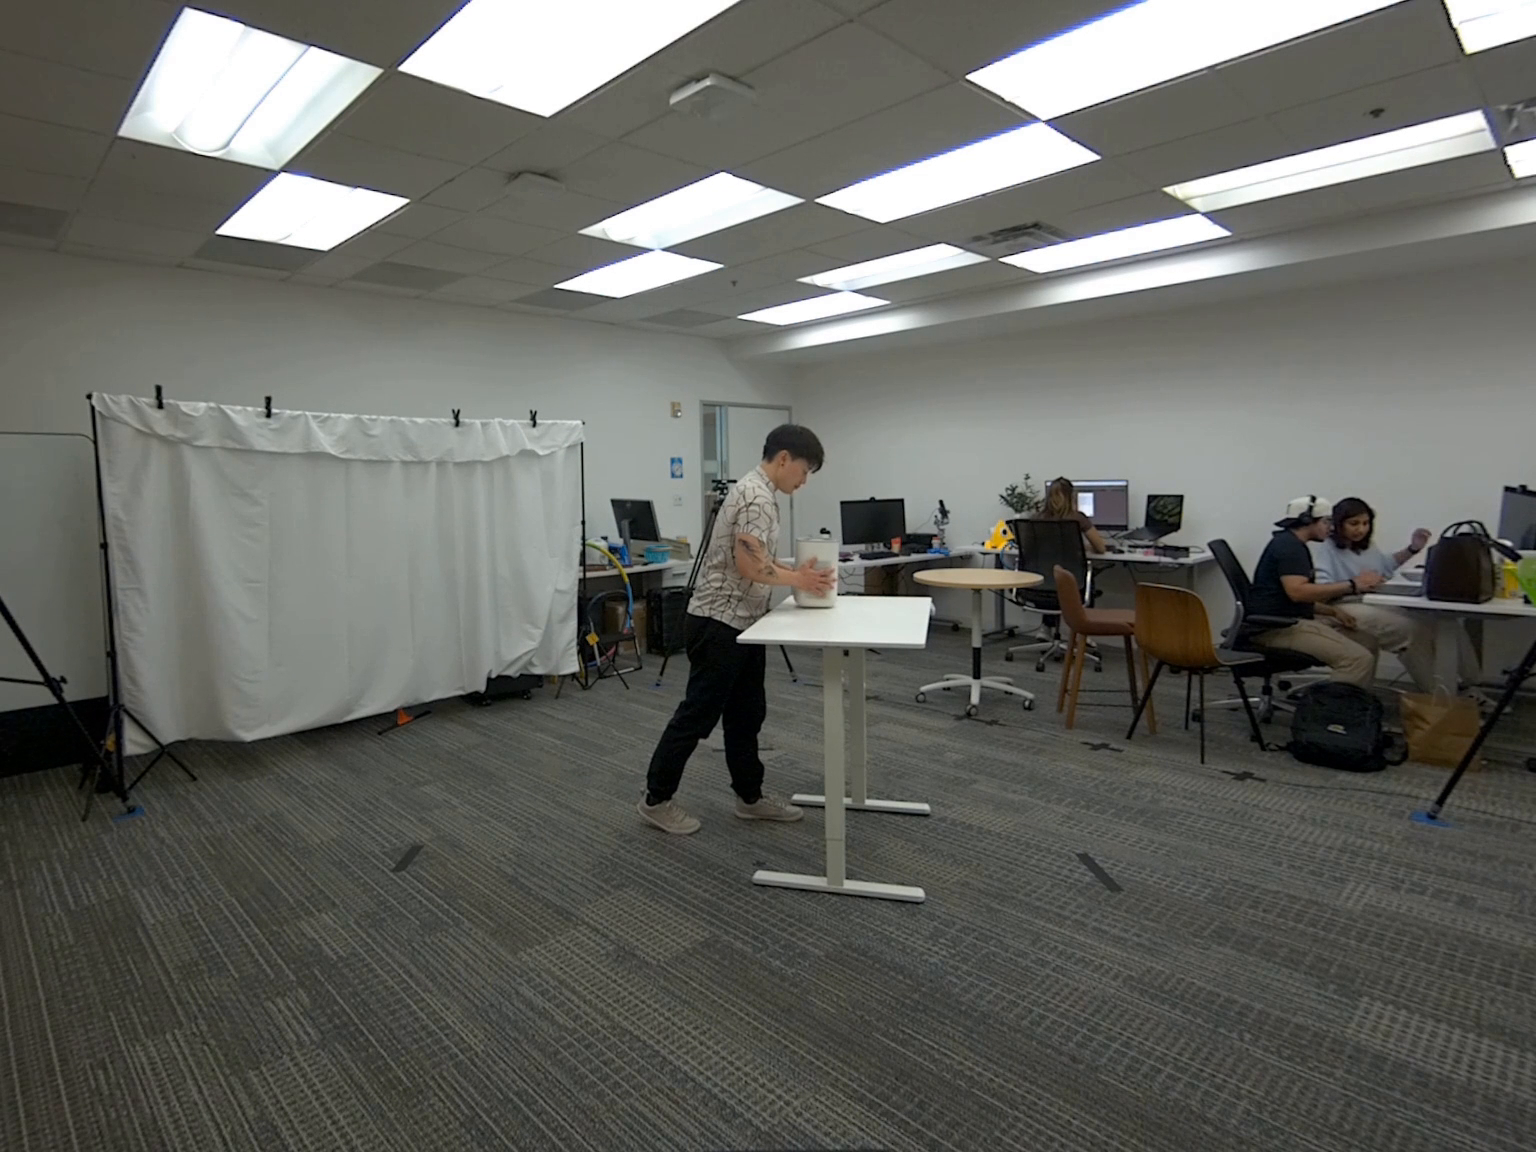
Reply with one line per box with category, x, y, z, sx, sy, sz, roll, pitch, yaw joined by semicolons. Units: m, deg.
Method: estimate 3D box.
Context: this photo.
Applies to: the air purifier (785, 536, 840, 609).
air purifier;0.197;-0.013;3.425;0.171;0.264;0.172;2;5;-1
